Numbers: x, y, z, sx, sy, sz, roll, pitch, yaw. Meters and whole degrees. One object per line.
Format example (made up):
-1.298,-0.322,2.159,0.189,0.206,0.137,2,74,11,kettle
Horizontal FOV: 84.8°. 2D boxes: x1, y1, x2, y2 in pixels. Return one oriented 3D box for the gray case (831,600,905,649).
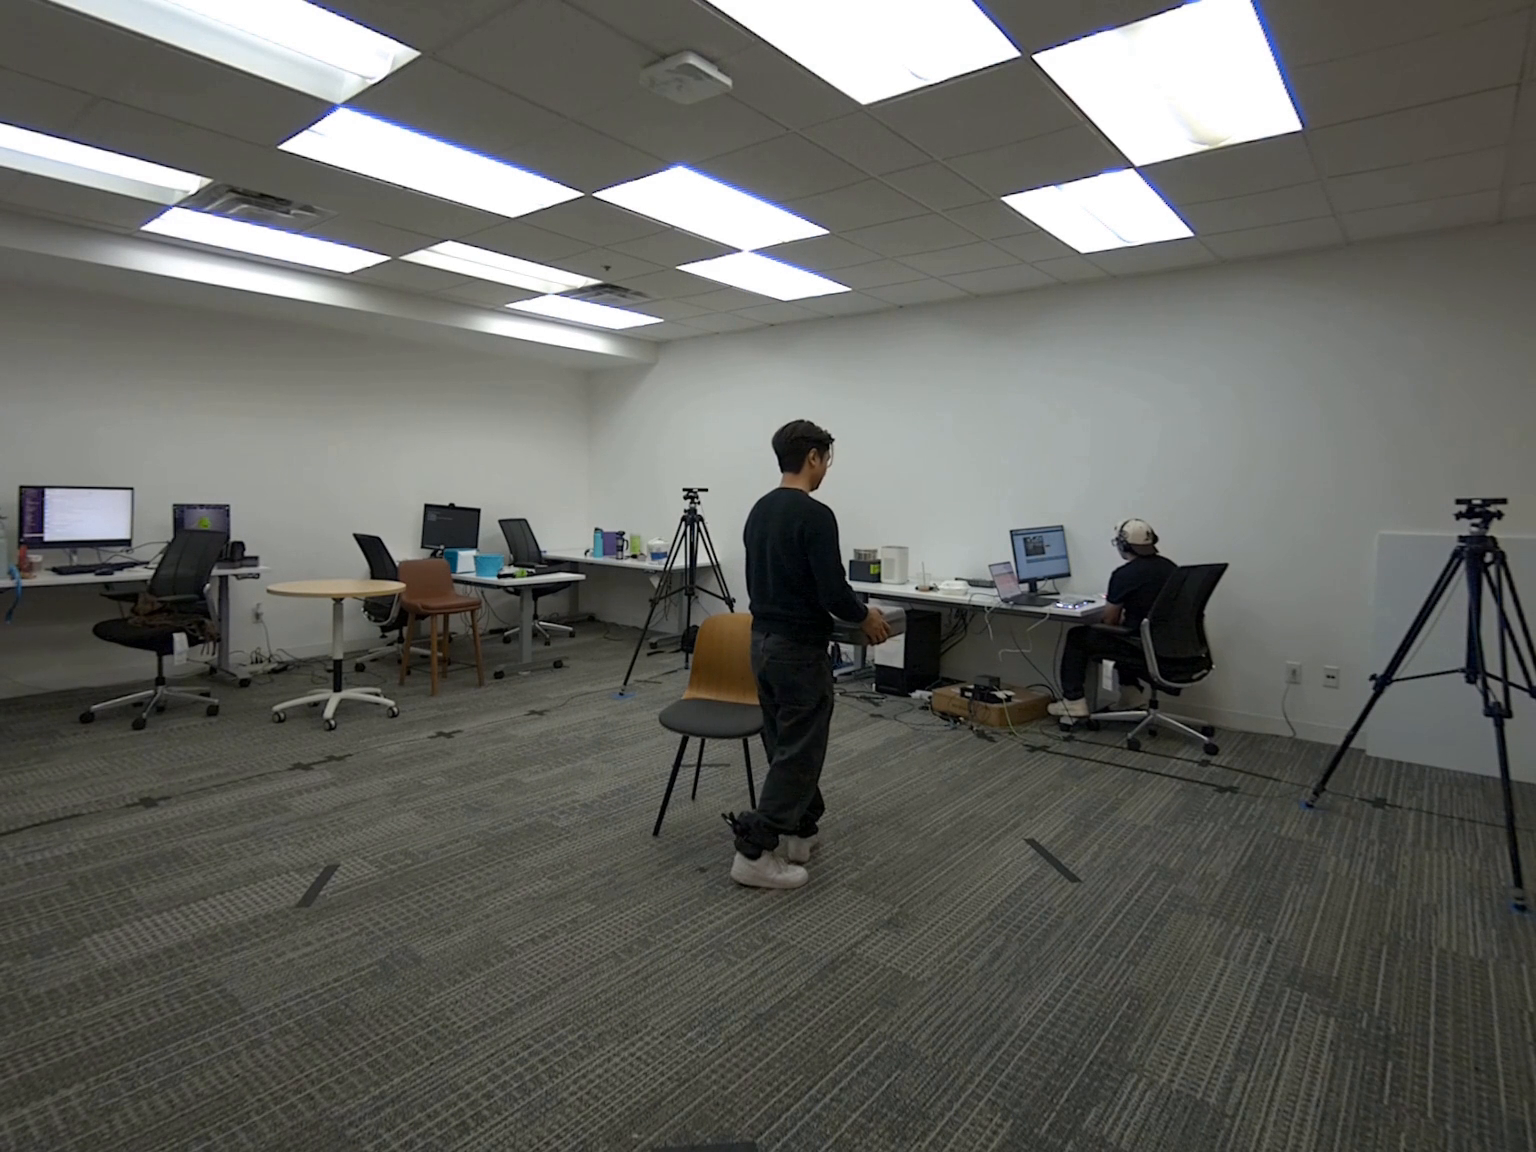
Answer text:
0.338,0.180,3.261,0.255,0.103,0.265,-13,11,-32,gray case
